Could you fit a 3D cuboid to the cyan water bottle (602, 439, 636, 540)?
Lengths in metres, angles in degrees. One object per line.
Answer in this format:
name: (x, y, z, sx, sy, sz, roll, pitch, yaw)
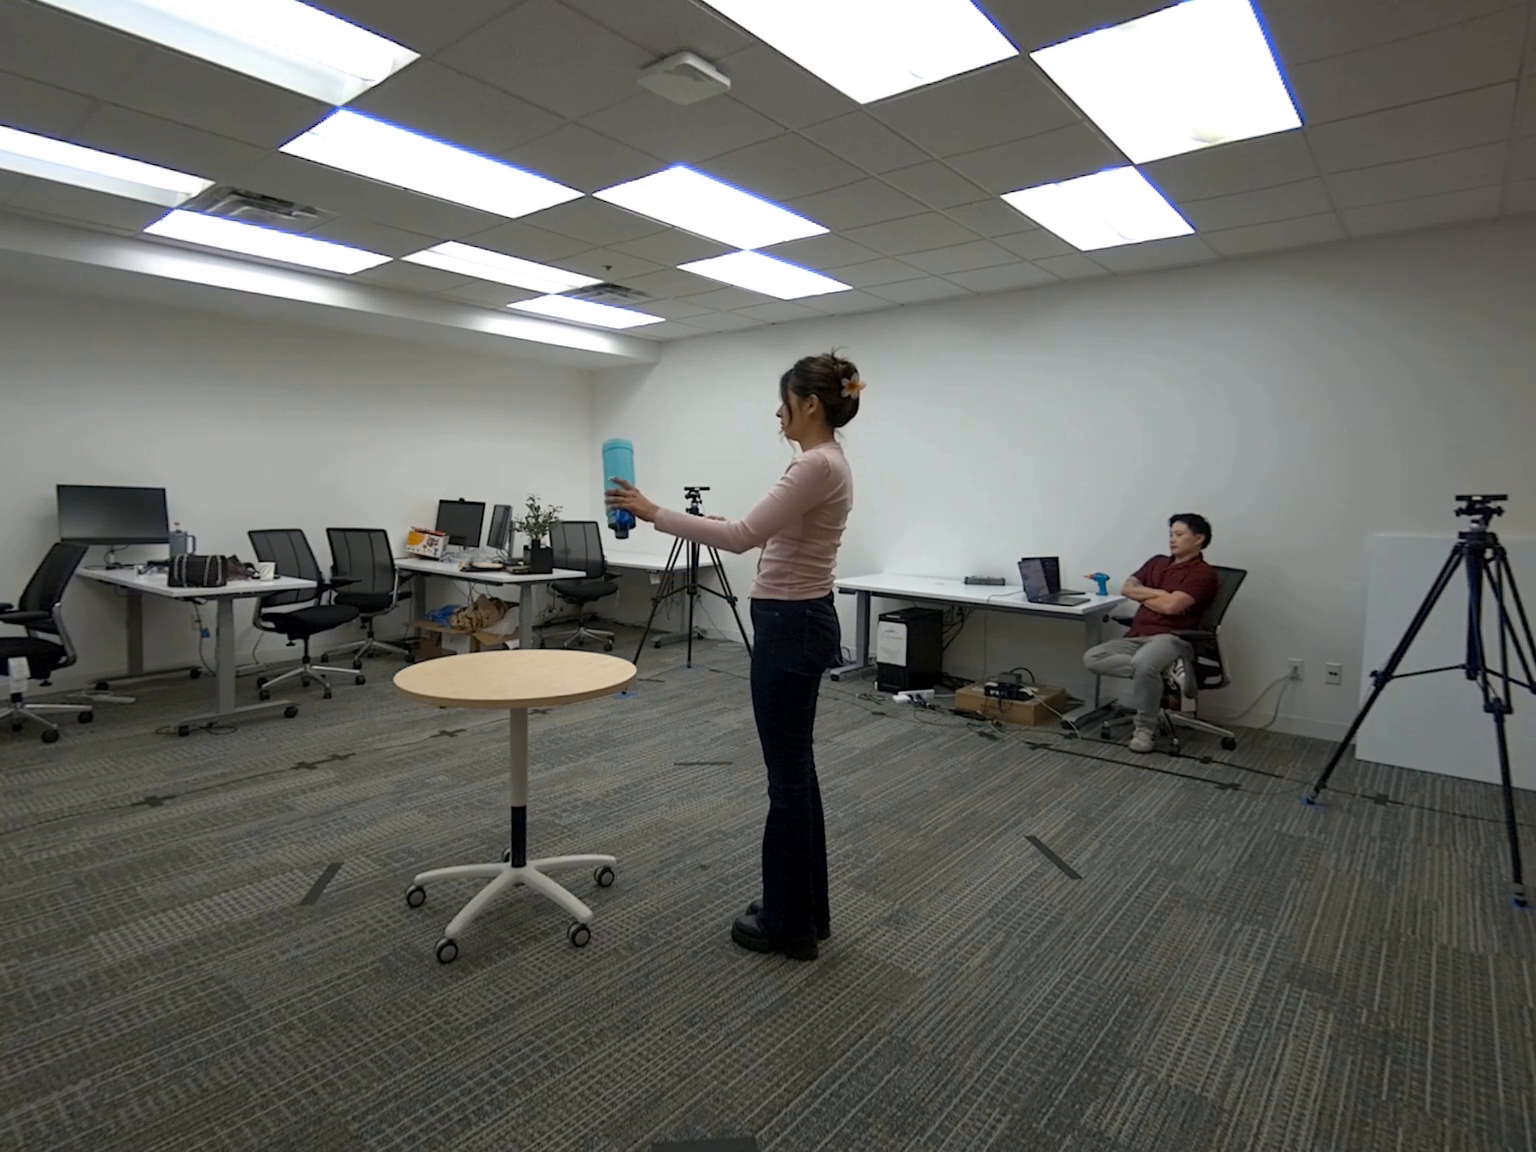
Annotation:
cyan water bottle: (-0.425, -0.244, 2.417, 0.092, 0.289, 0.090, -4, -21, -3)
